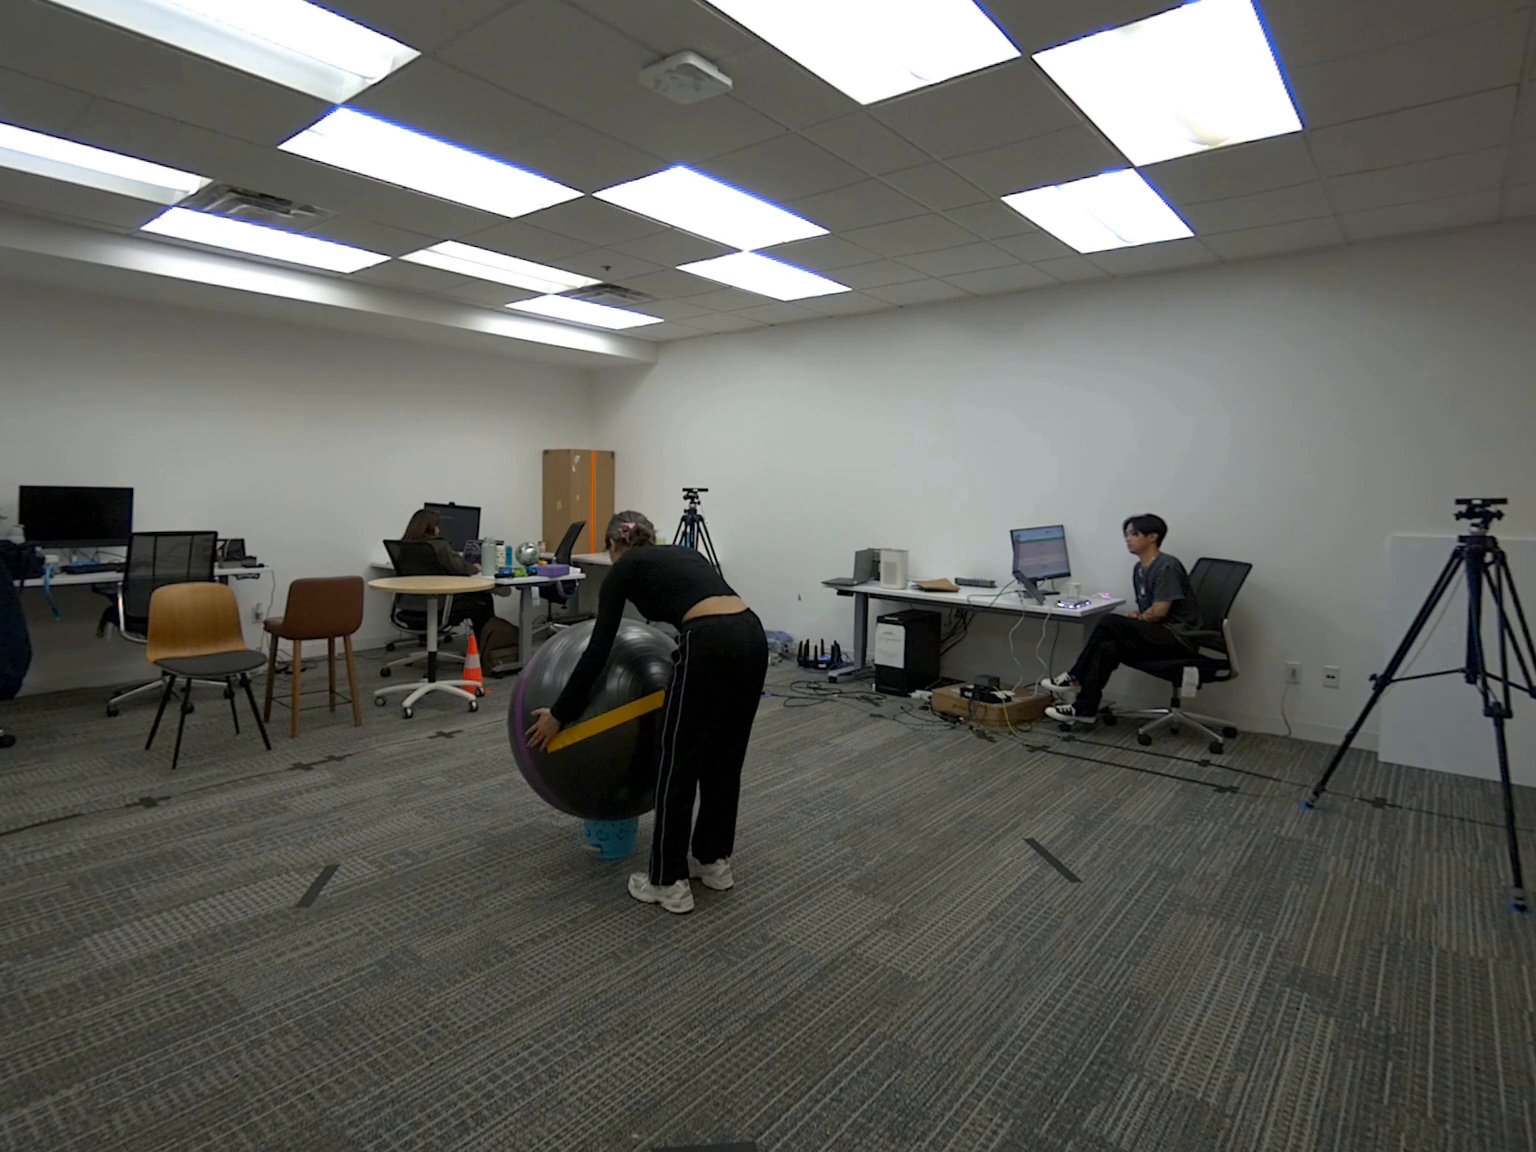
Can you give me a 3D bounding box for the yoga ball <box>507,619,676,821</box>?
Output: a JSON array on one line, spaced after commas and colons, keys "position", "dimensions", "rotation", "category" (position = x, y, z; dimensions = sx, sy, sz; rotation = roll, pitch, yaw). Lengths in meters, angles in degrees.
[{"position": [-0.627, 0.542, 3.254], "dimensions": [0.757, 0.755, 0.762], "rotation": [1, 4, -2], "category": "yoga ball"}]
